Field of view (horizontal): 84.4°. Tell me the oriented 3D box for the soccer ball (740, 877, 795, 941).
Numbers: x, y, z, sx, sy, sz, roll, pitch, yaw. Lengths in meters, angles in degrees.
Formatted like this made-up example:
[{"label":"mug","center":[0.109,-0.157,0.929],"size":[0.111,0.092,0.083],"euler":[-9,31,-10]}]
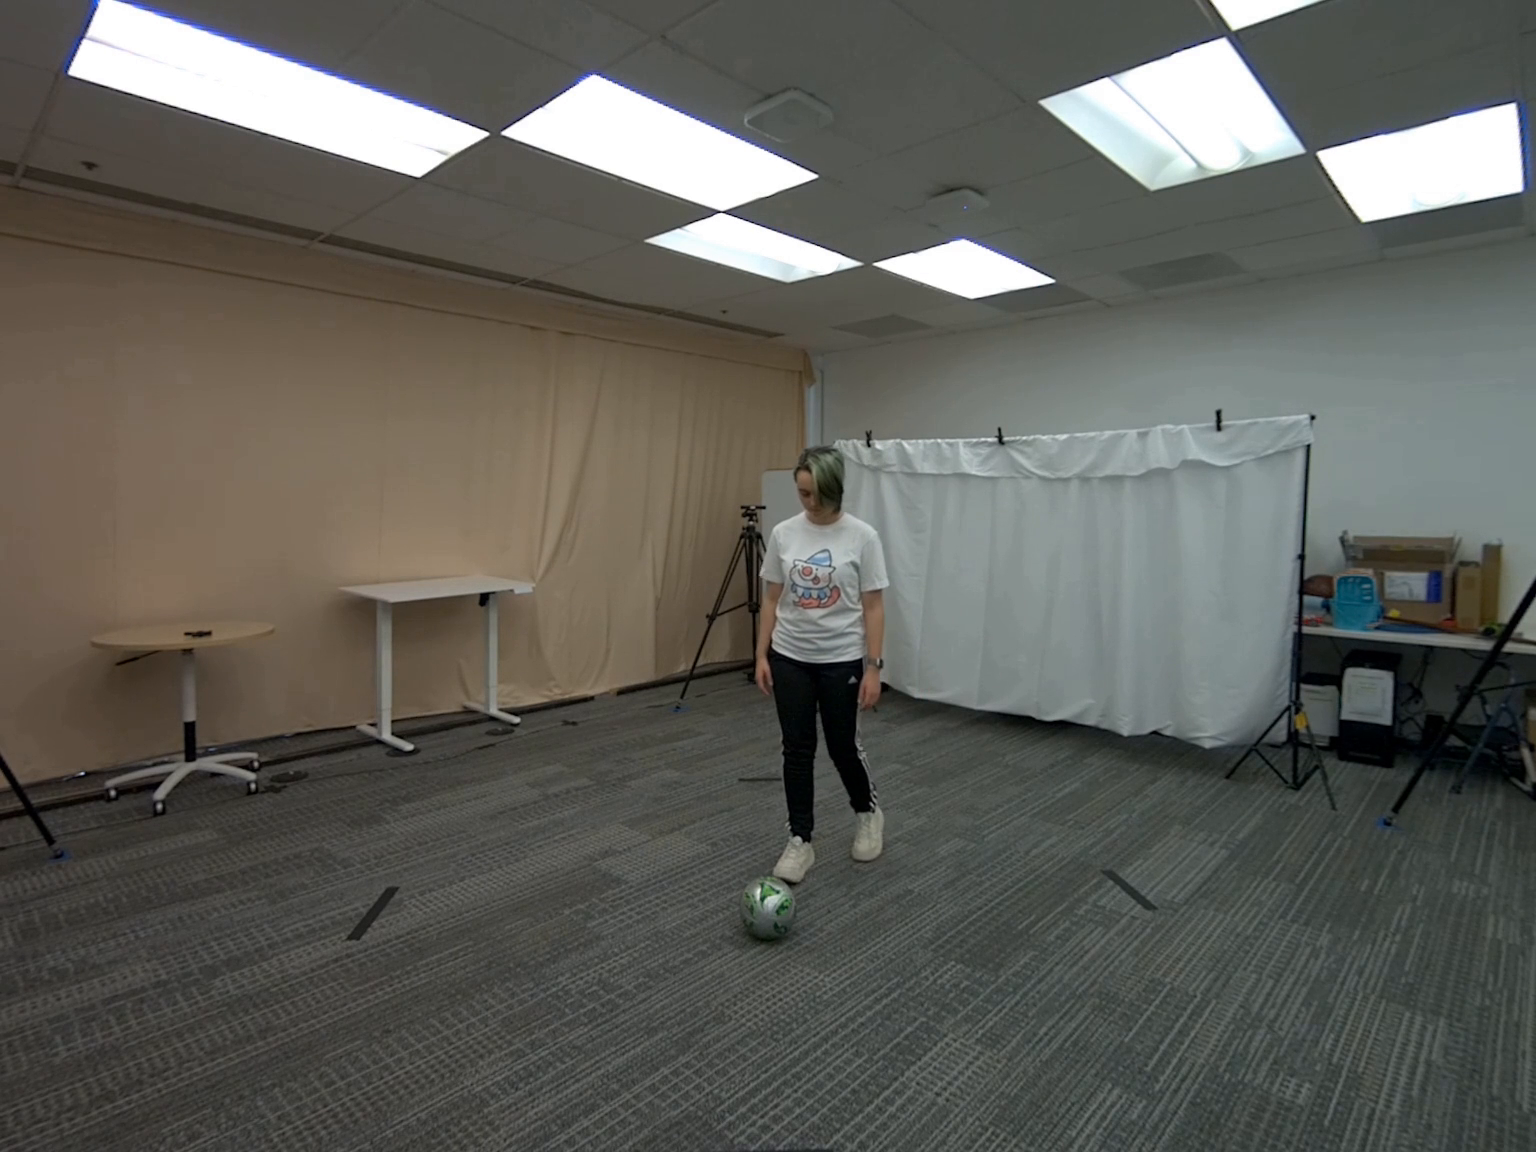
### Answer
[{"label":"soccer ball","center":[0.000,1.070,2.725],"size":[0.187,0.187,0.188],"euler":[0,4,-2]}]
